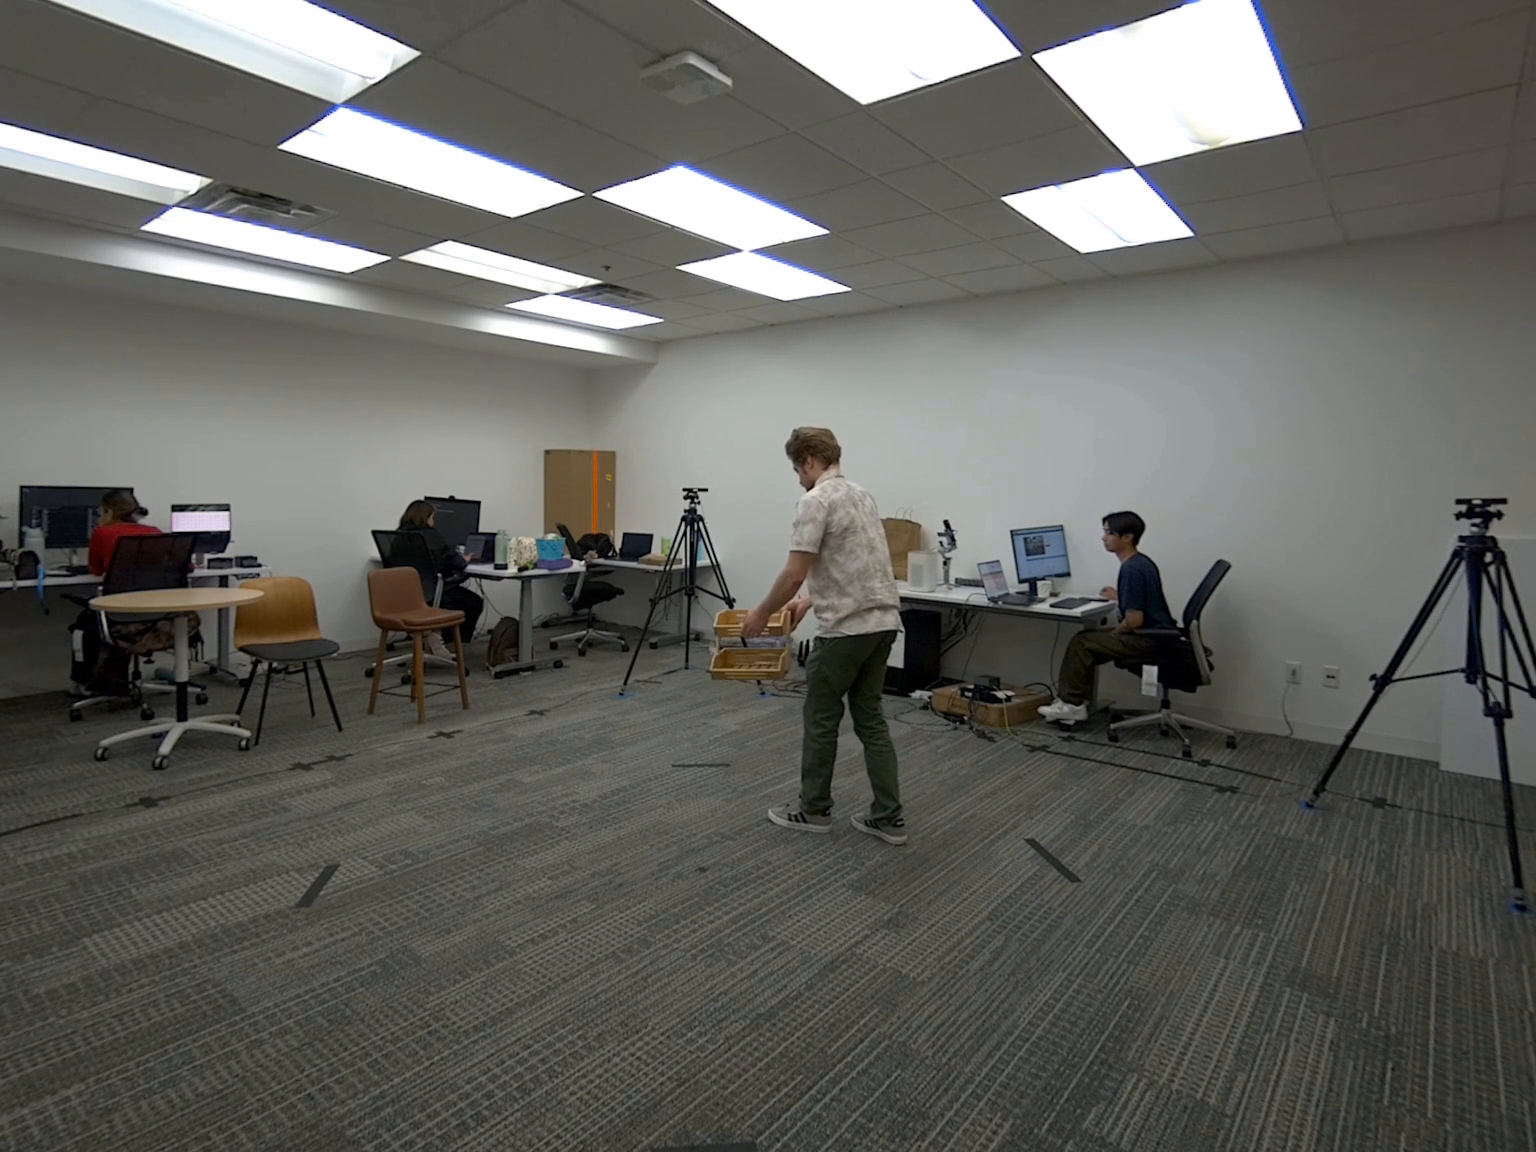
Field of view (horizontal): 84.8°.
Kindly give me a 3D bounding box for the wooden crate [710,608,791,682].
[{"bbox_3d":[-0.082,0.286,3.674,0.329,0.272,0.298,-1,4,14],"label":"wooden crate"}]
